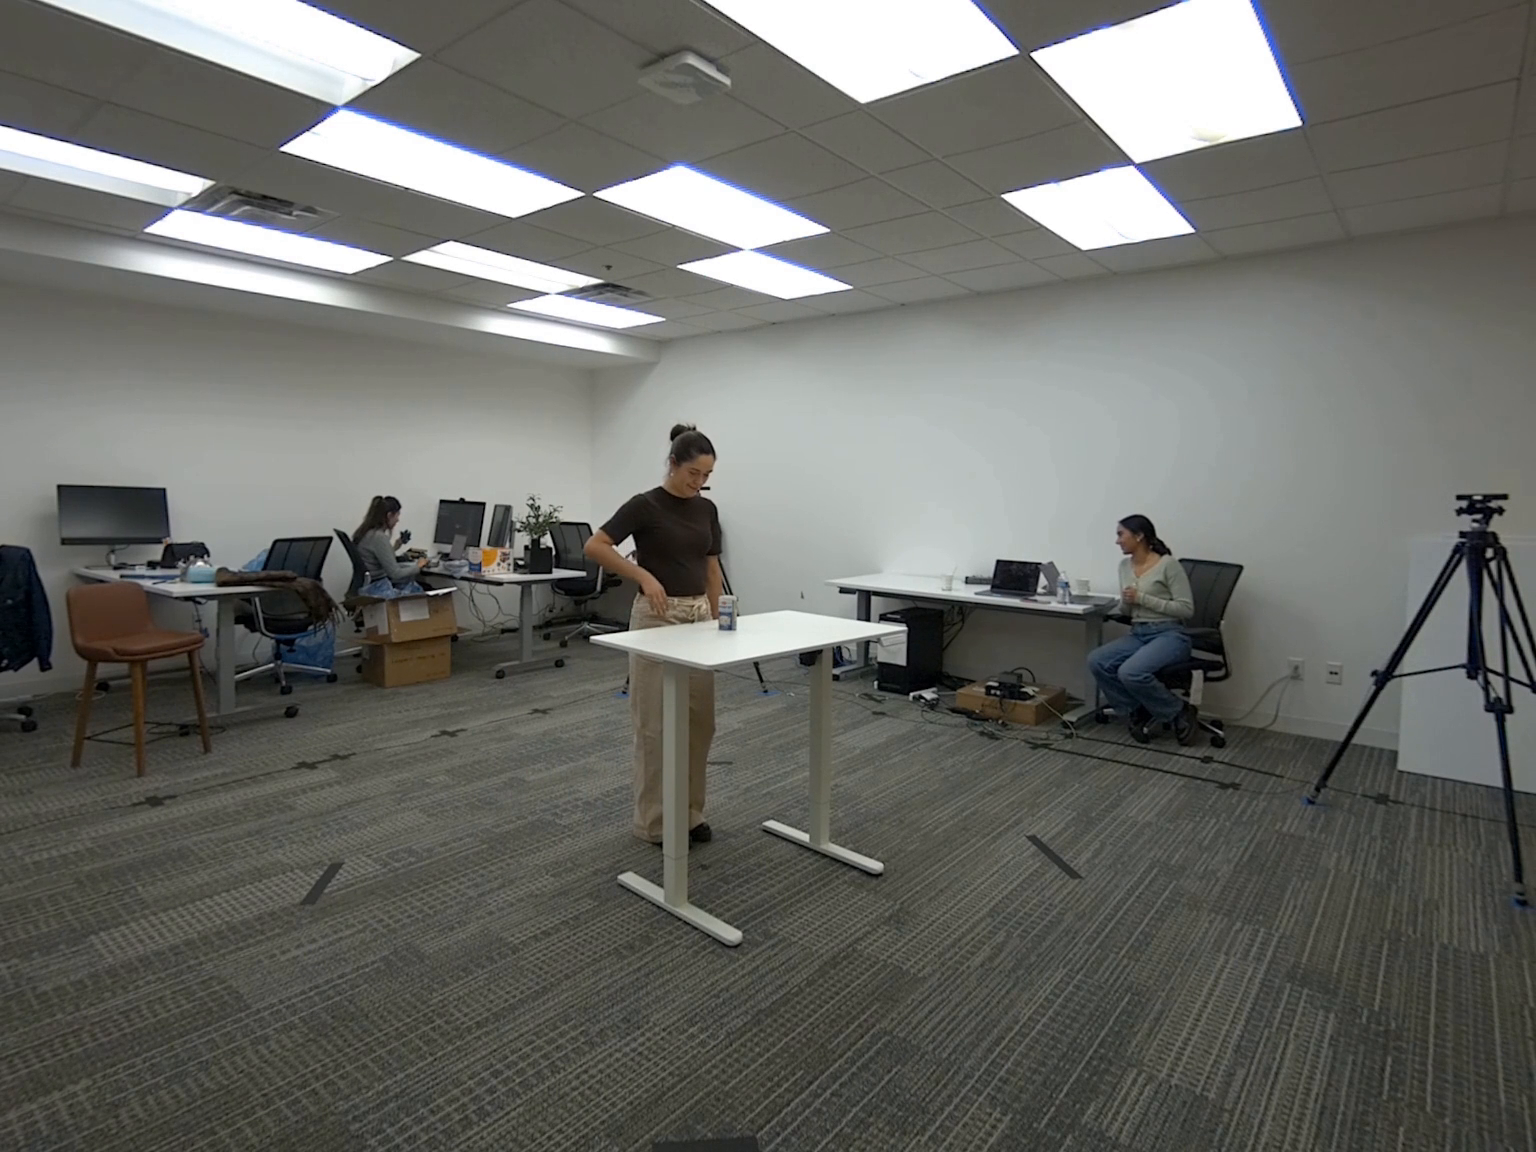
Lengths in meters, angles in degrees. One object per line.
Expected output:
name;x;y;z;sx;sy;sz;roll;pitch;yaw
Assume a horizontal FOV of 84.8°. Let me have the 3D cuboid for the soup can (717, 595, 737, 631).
soup can;-0.159;0.133;3.040;0.067;0.121;0.067;-1;5;-2
